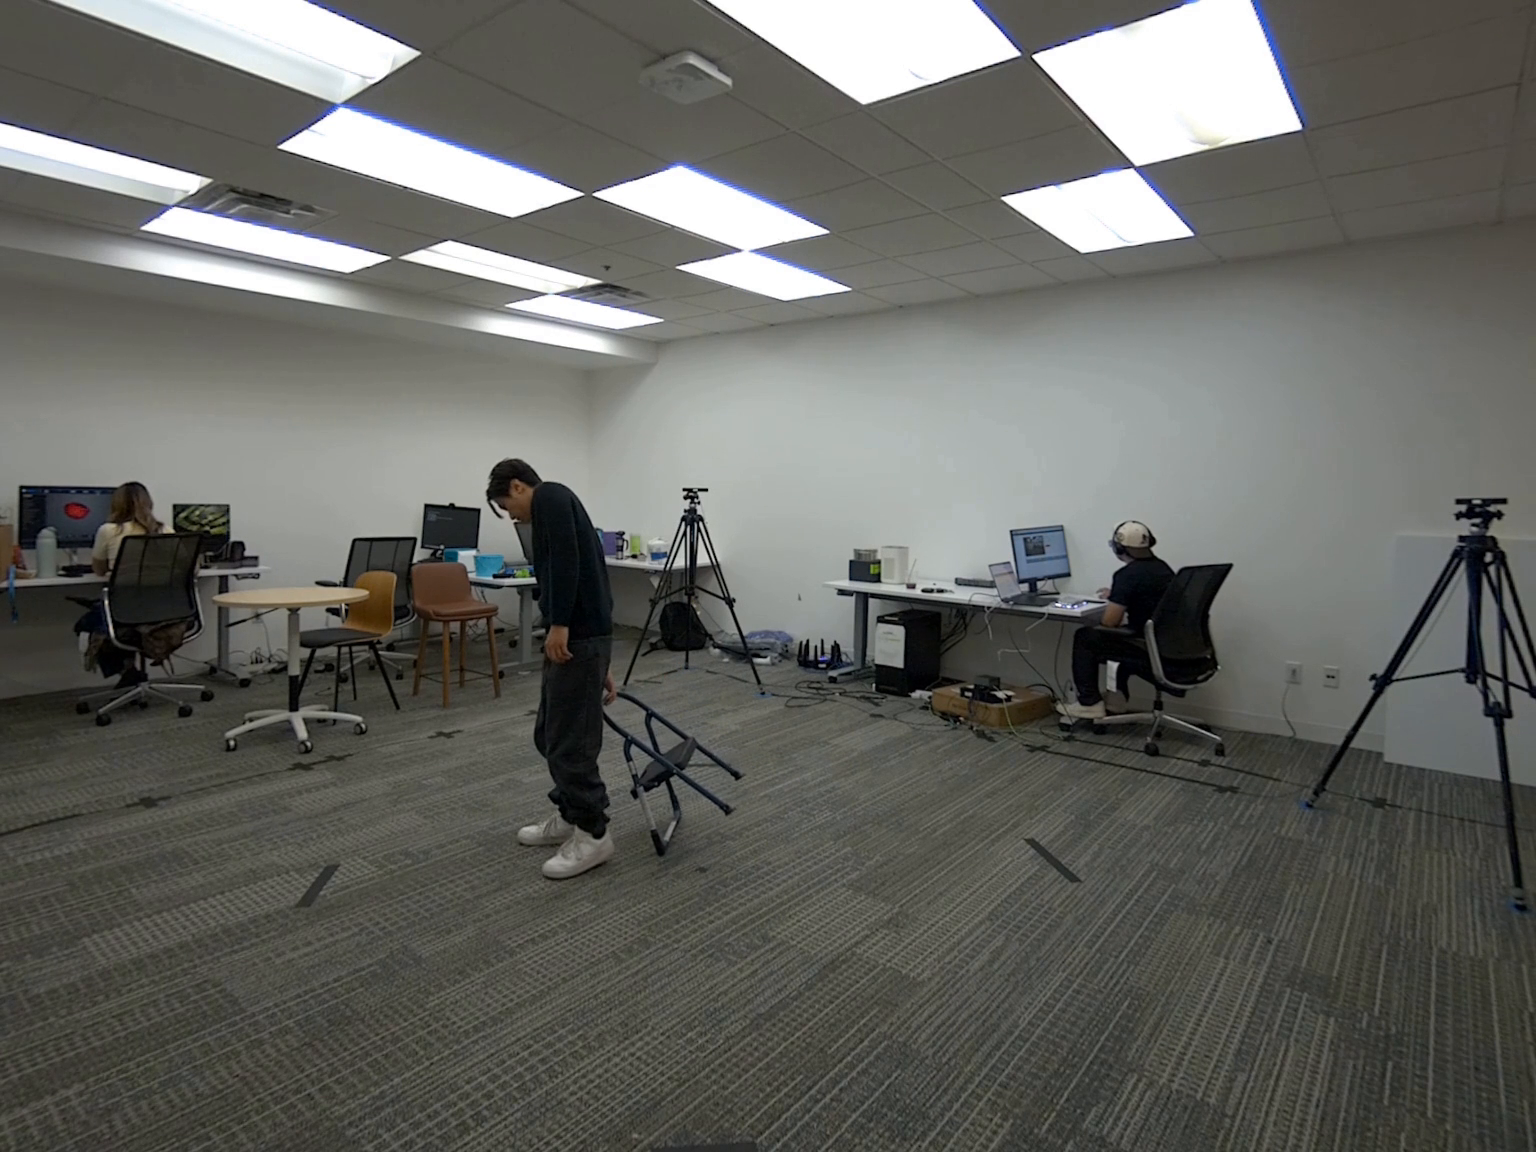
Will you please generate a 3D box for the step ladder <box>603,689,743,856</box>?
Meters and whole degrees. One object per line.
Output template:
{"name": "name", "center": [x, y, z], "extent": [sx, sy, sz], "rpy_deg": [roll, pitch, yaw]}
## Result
{"name": "step ladder", "center": [-0.438, 0.699, 3.408], "extent": [0.350, 0.607, 0.429], "rpy_deg": [-35, -1, 6]}
